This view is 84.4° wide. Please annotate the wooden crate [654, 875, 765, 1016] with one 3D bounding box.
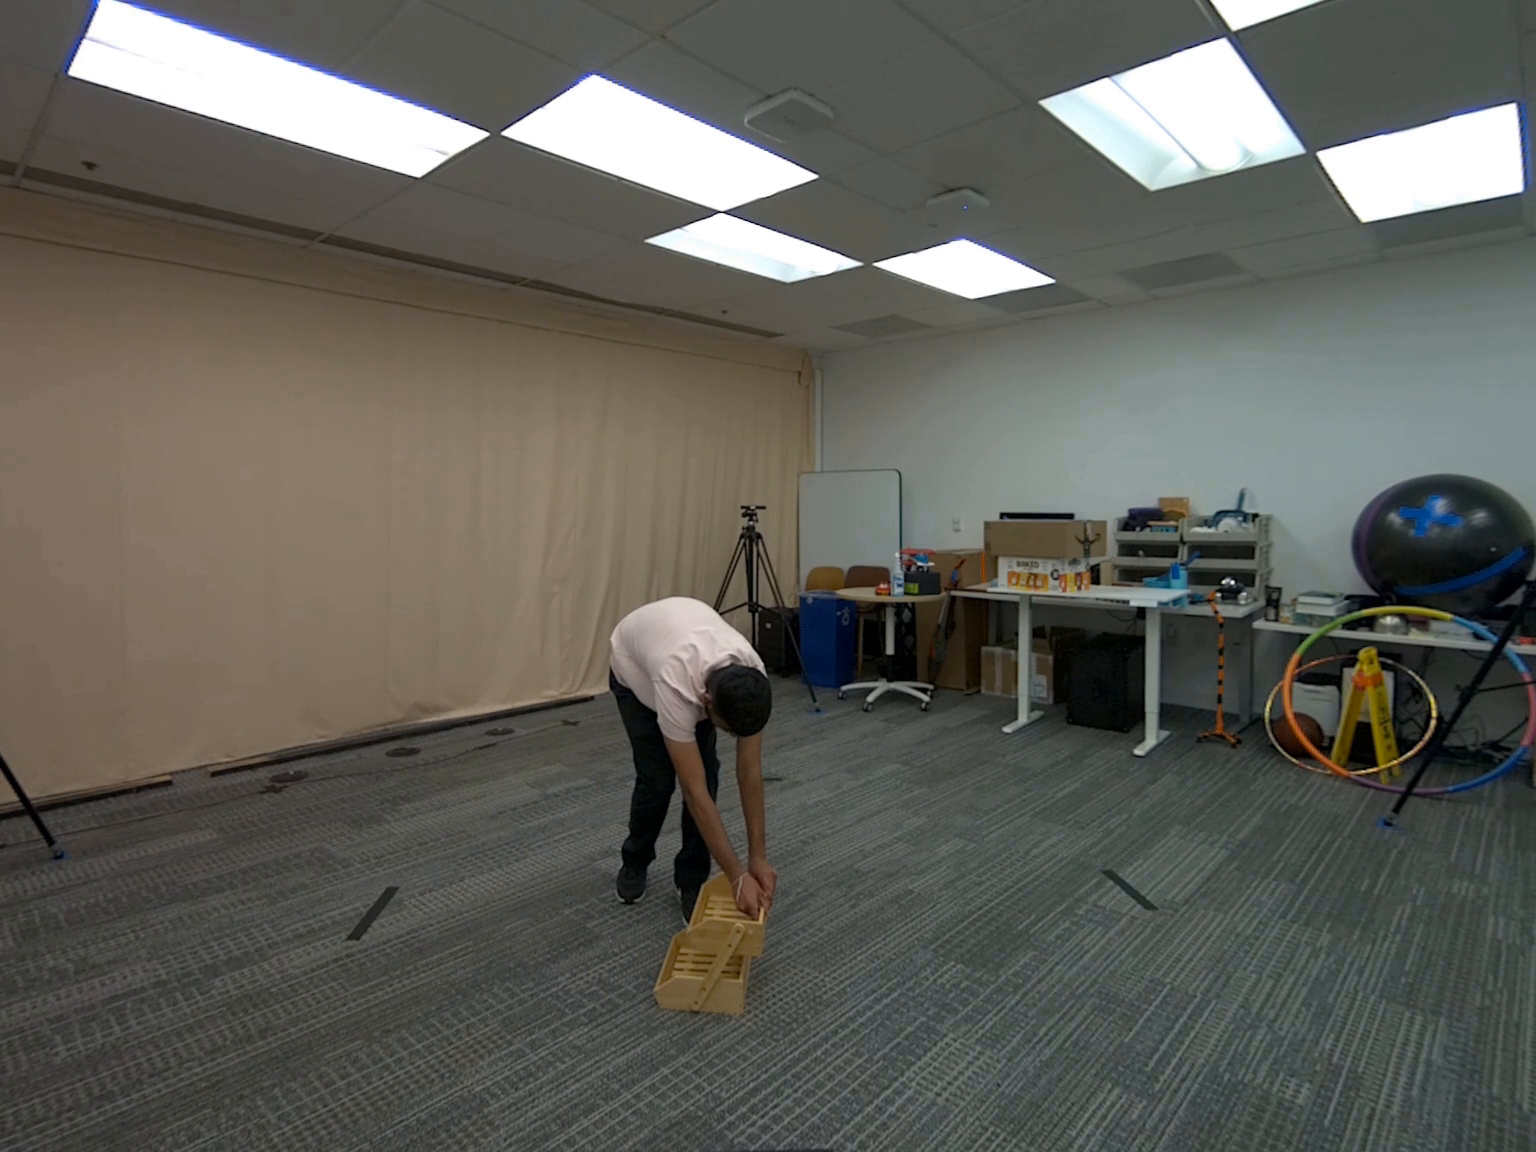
[{"bbox_3d":[-0.153,1.057,2.451,0.304,0.273,0.323,2,4,4],"label":"wooden crate"}]
